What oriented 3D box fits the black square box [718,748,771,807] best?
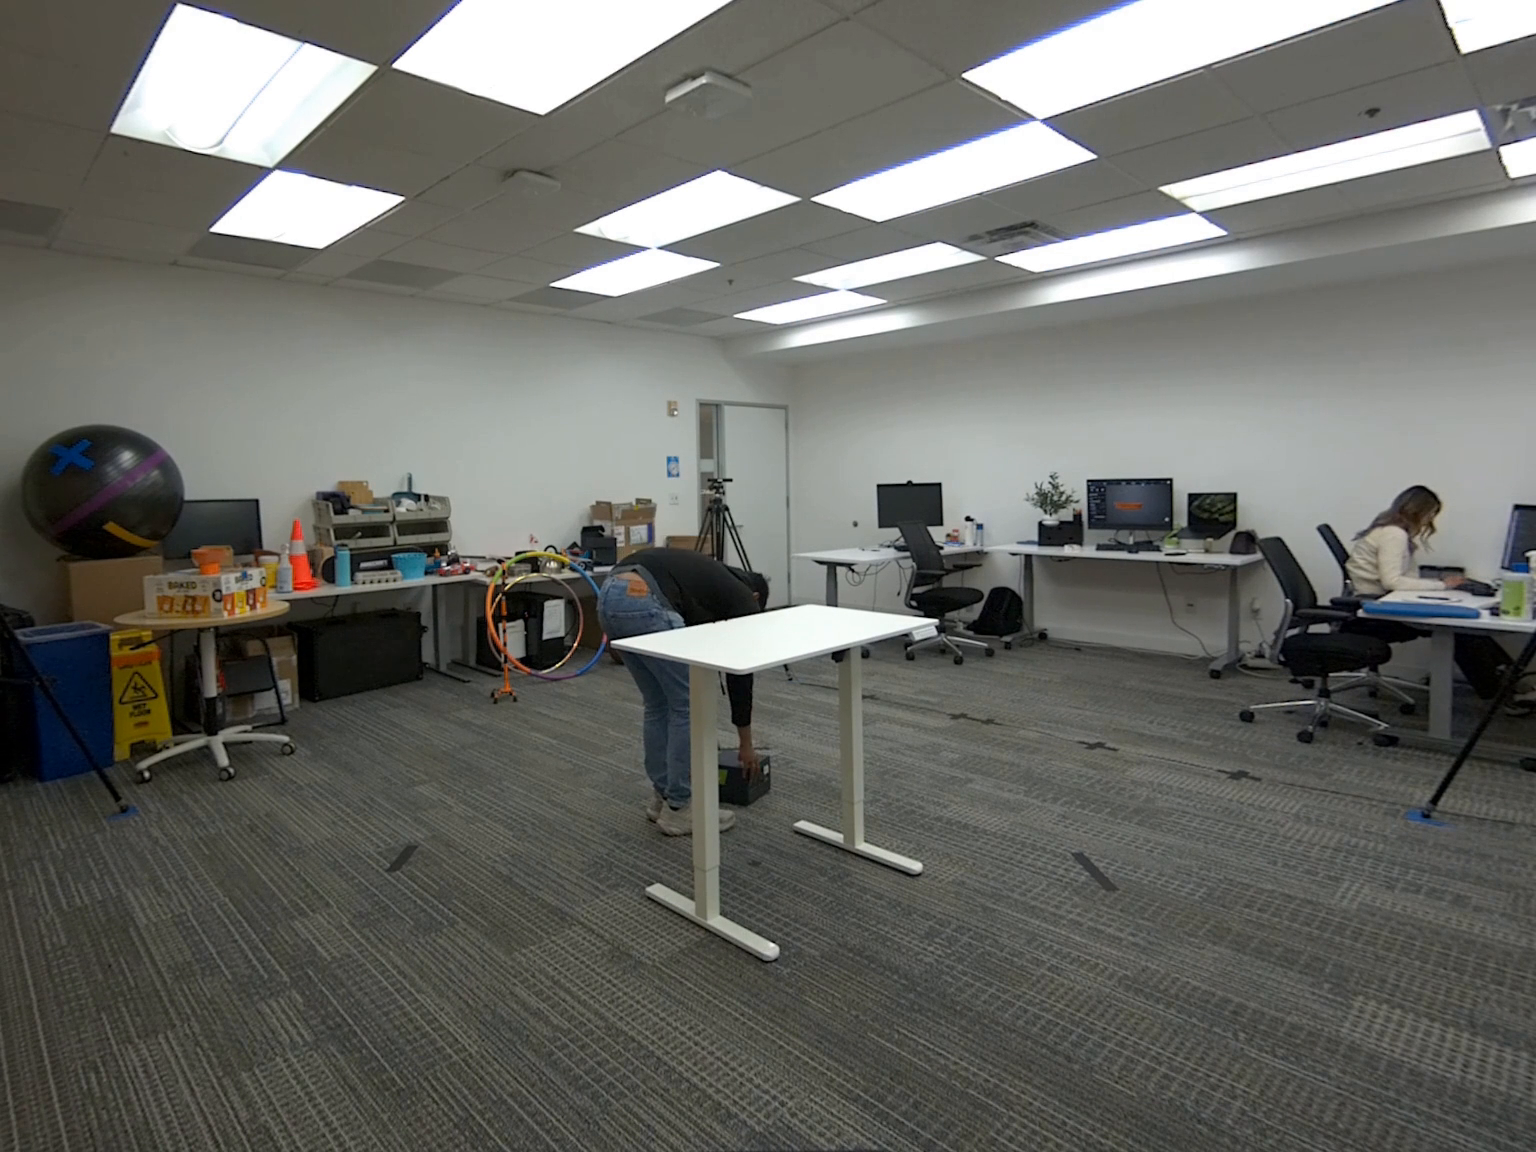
[{"bbox_3d":[-0.144,0.864,3.780,0.233,0.156,0.212,0,3,28],"label":"black square box"}]
